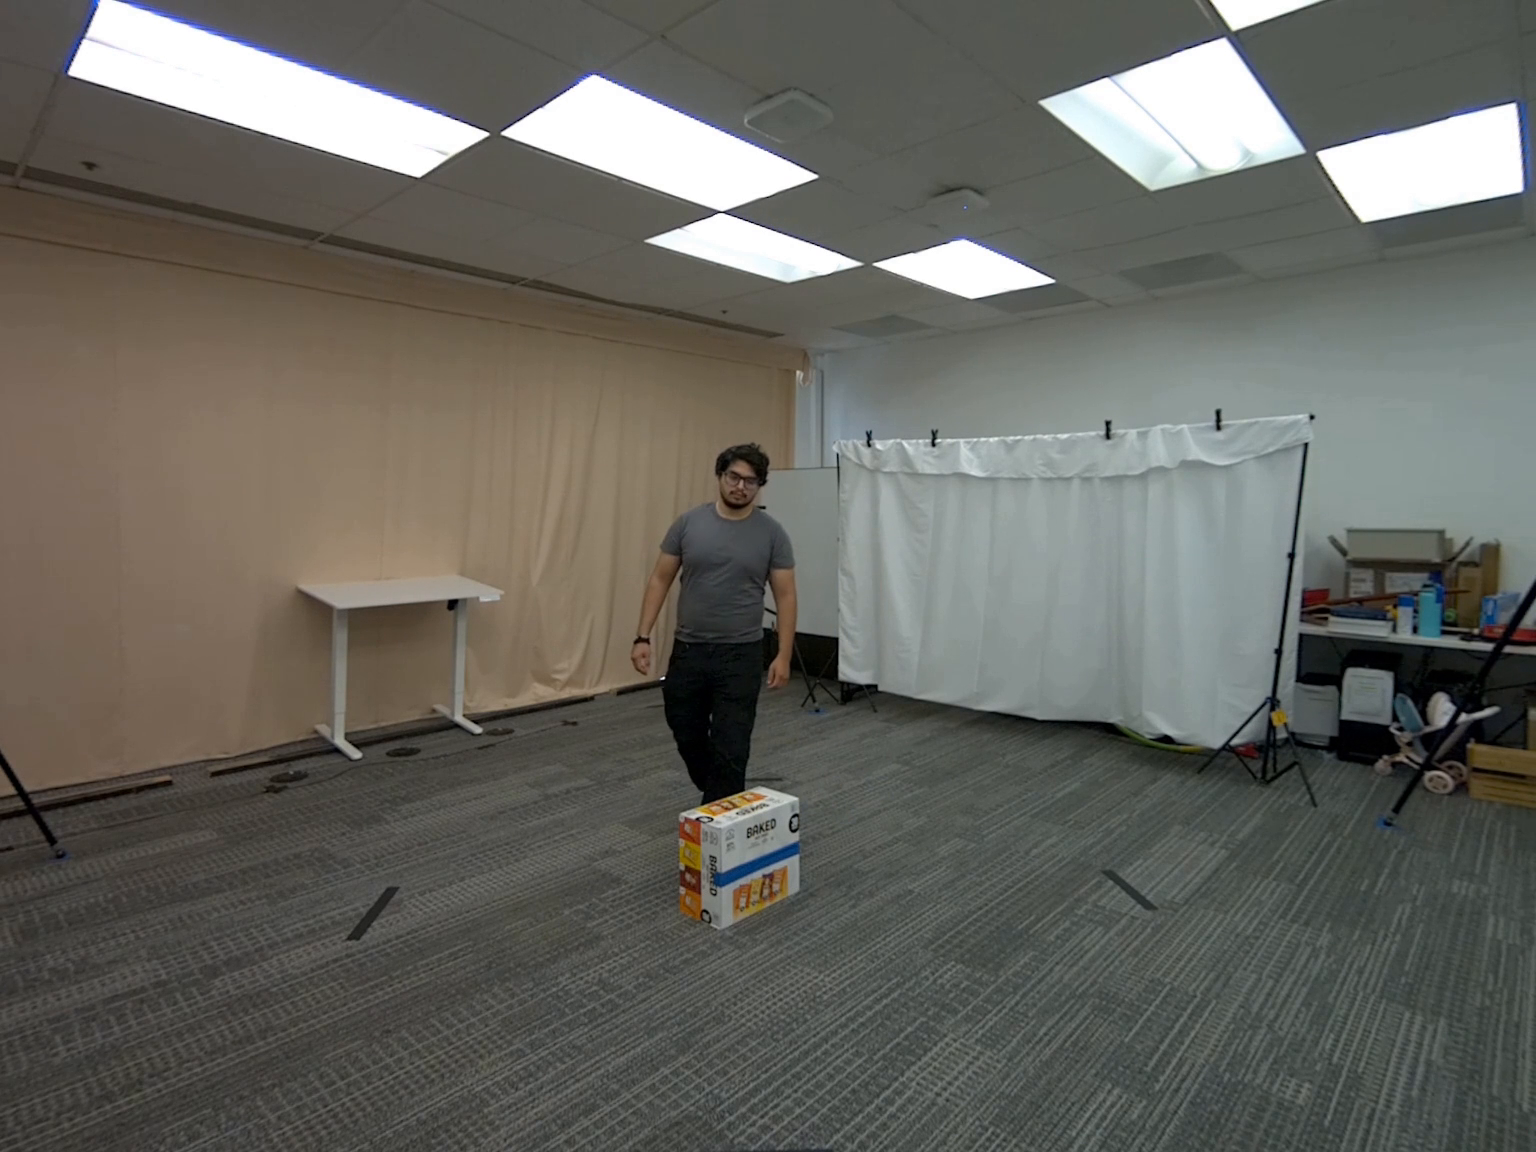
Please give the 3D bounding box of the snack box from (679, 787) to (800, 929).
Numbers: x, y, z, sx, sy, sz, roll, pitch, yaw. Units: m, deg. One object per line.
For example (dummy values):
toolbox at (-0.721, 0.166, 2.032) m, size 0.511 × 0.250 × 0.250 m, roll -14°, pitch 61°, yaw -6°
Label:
snack box at (-0.091, 0.977, 2.962) m, size 0.212 × 0.340 × 0.393 m, roll 2°, pitch 4°, yaw 43°
